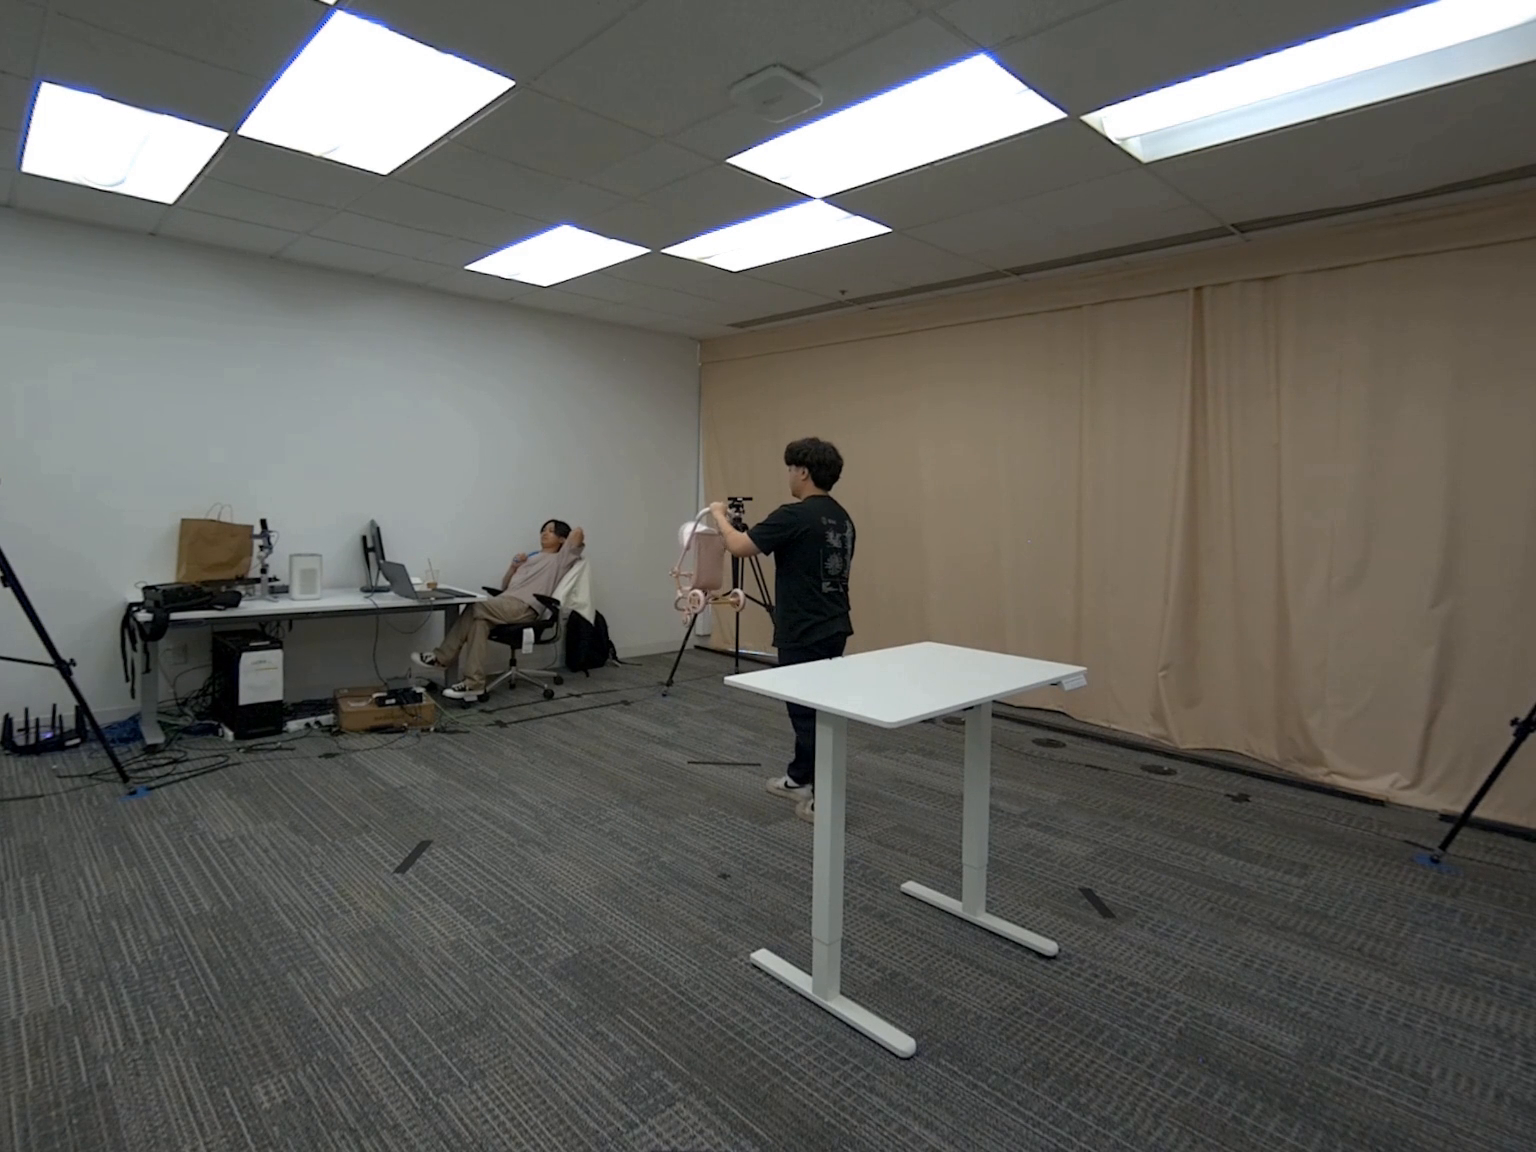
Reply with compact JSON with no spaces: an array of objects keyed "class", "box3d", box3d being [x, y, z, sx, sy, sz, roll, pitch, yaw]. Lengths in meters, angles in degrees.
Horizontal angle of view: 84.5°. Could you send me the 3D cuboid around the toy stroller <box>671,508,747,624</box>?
[{"class":"toy stroller","box3d":[-0.316,-0.031,3.985,0.275,0.537,0.347,-1,-7,-38]}]
